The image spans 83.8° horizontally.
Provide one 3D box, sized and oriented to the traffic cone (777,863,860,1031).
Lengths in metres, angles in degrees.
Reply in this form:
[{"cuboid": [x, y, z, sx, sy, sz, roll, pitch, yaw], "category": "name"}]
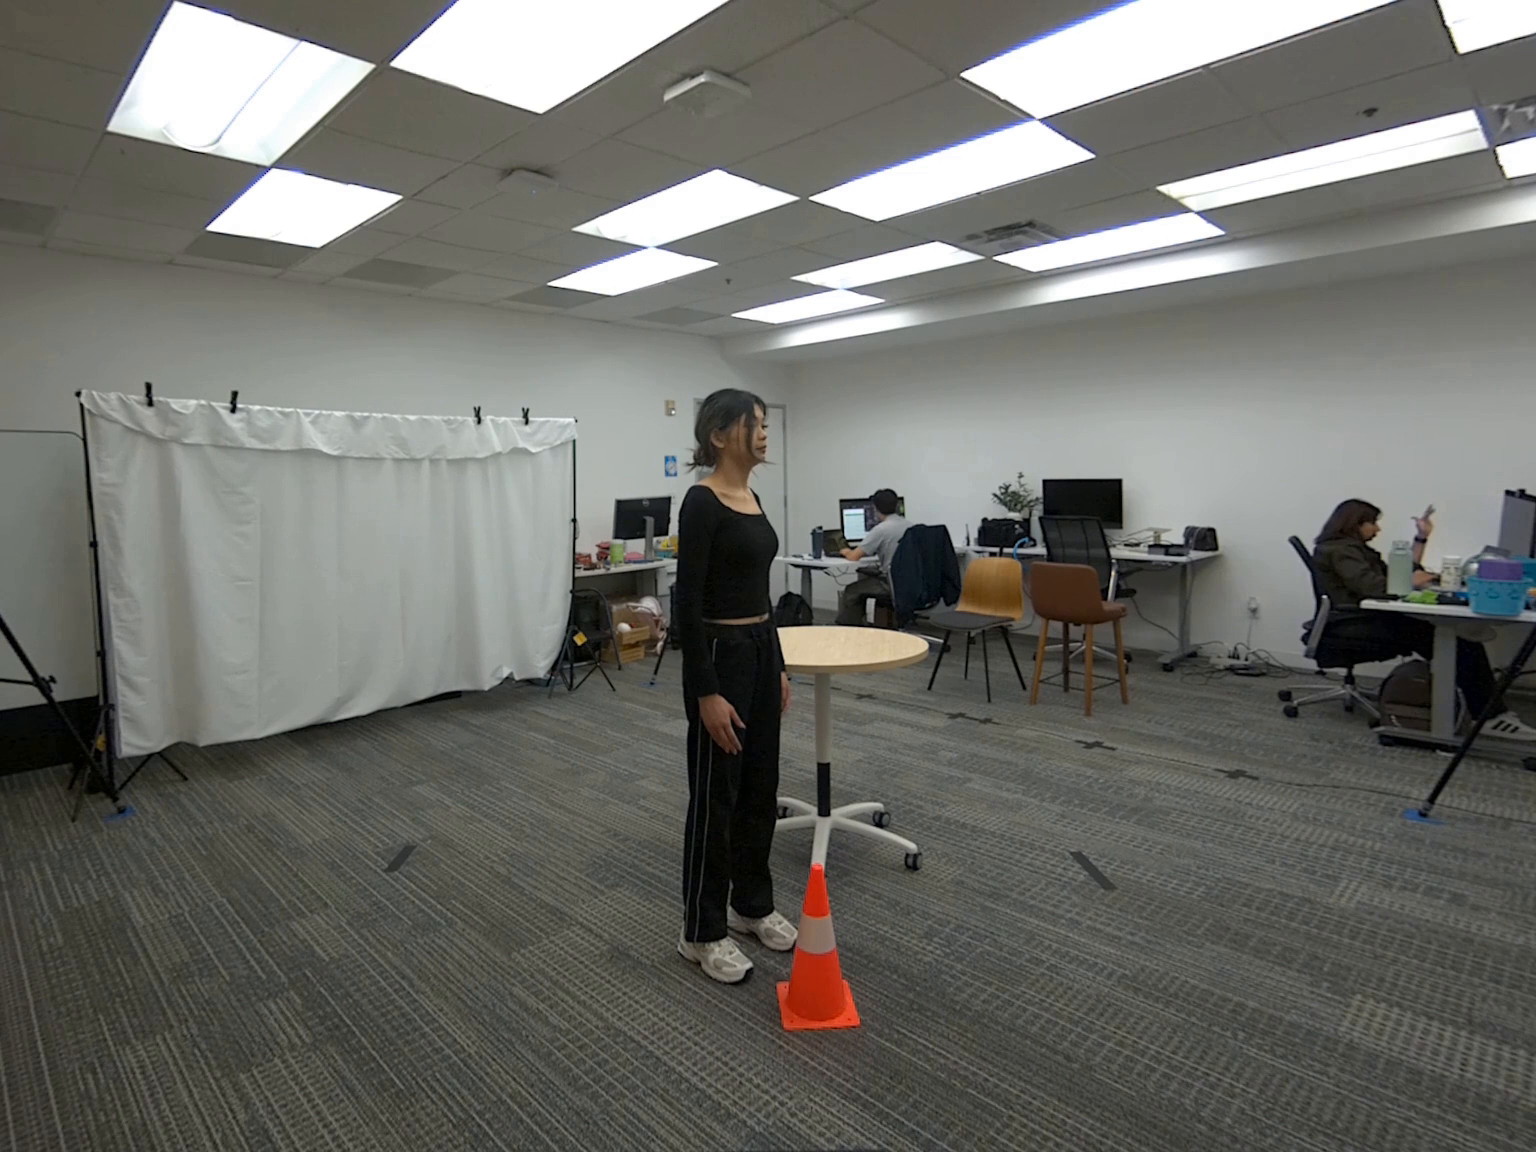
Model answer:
[{"cuboid": [0.142, 0.954, 2.258, 0.203, 0.383, 0.205, 0, 3, 0], "category": "traffic cone"}]
